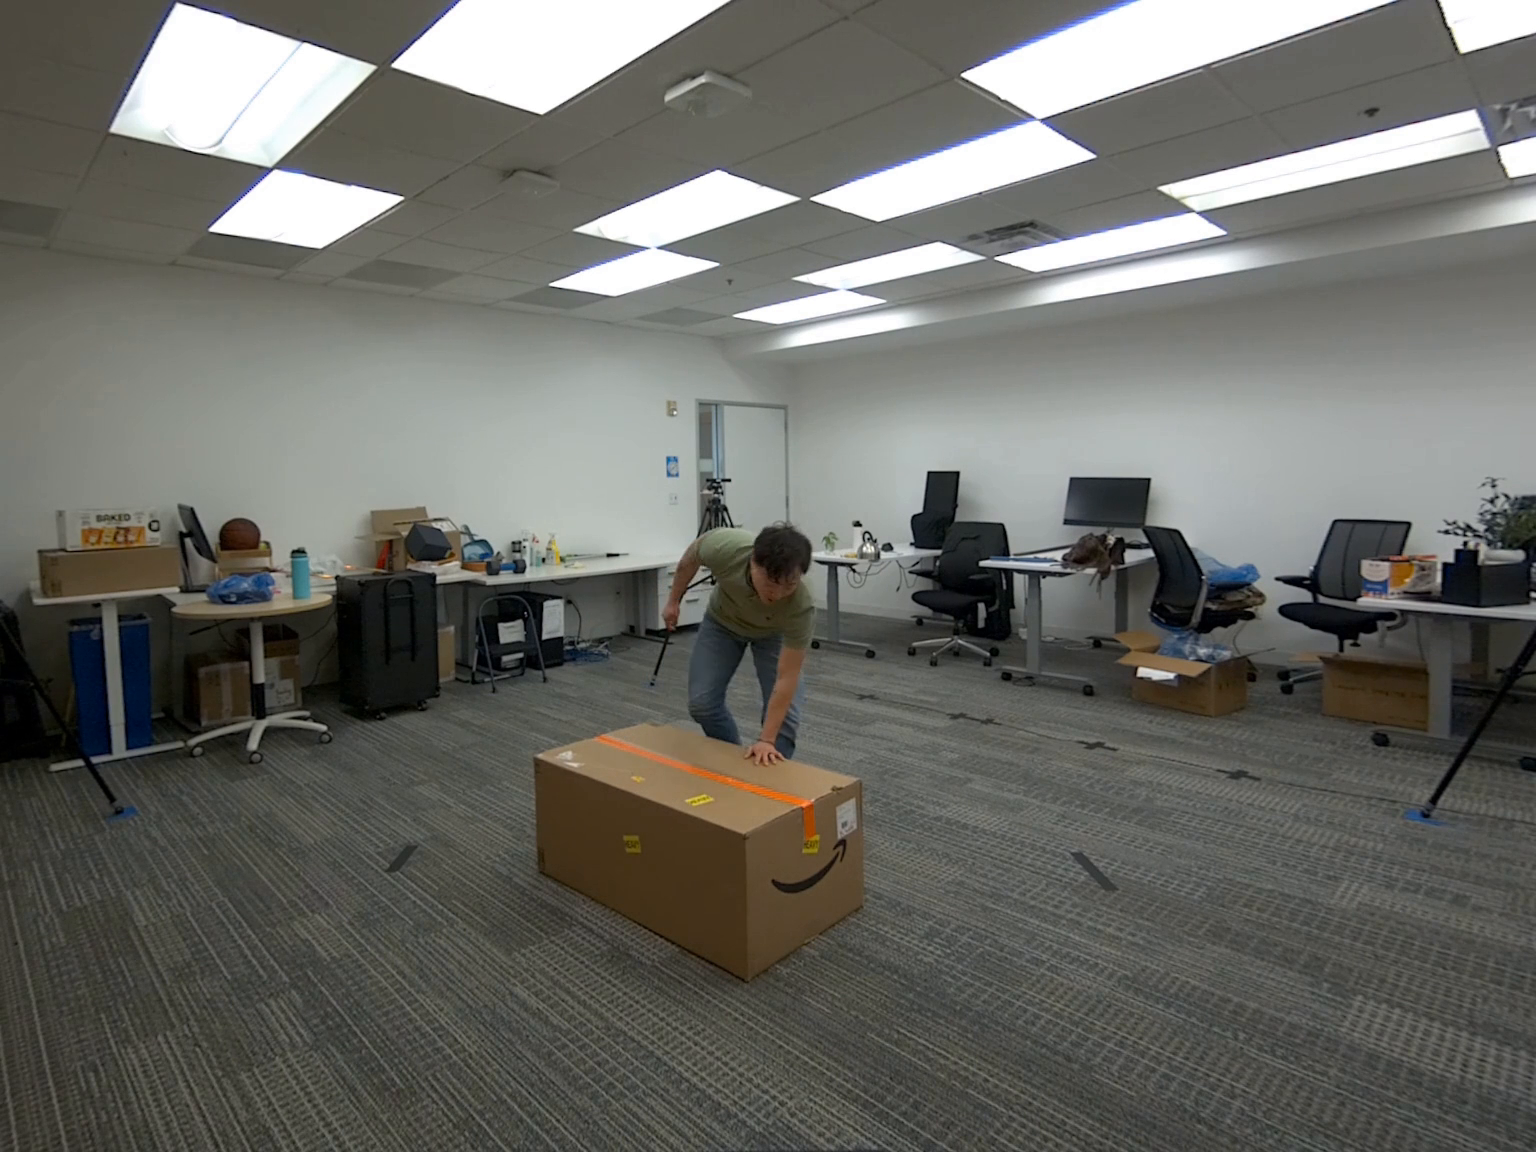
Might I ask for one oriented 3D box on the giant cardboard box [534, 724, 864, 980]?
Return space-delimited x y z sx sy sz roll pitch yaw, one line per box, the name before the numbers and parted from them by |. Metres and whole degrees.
giant cardboard box | -0.260 0.856 2.918 1.058 0.424 0.563 5 8 42
